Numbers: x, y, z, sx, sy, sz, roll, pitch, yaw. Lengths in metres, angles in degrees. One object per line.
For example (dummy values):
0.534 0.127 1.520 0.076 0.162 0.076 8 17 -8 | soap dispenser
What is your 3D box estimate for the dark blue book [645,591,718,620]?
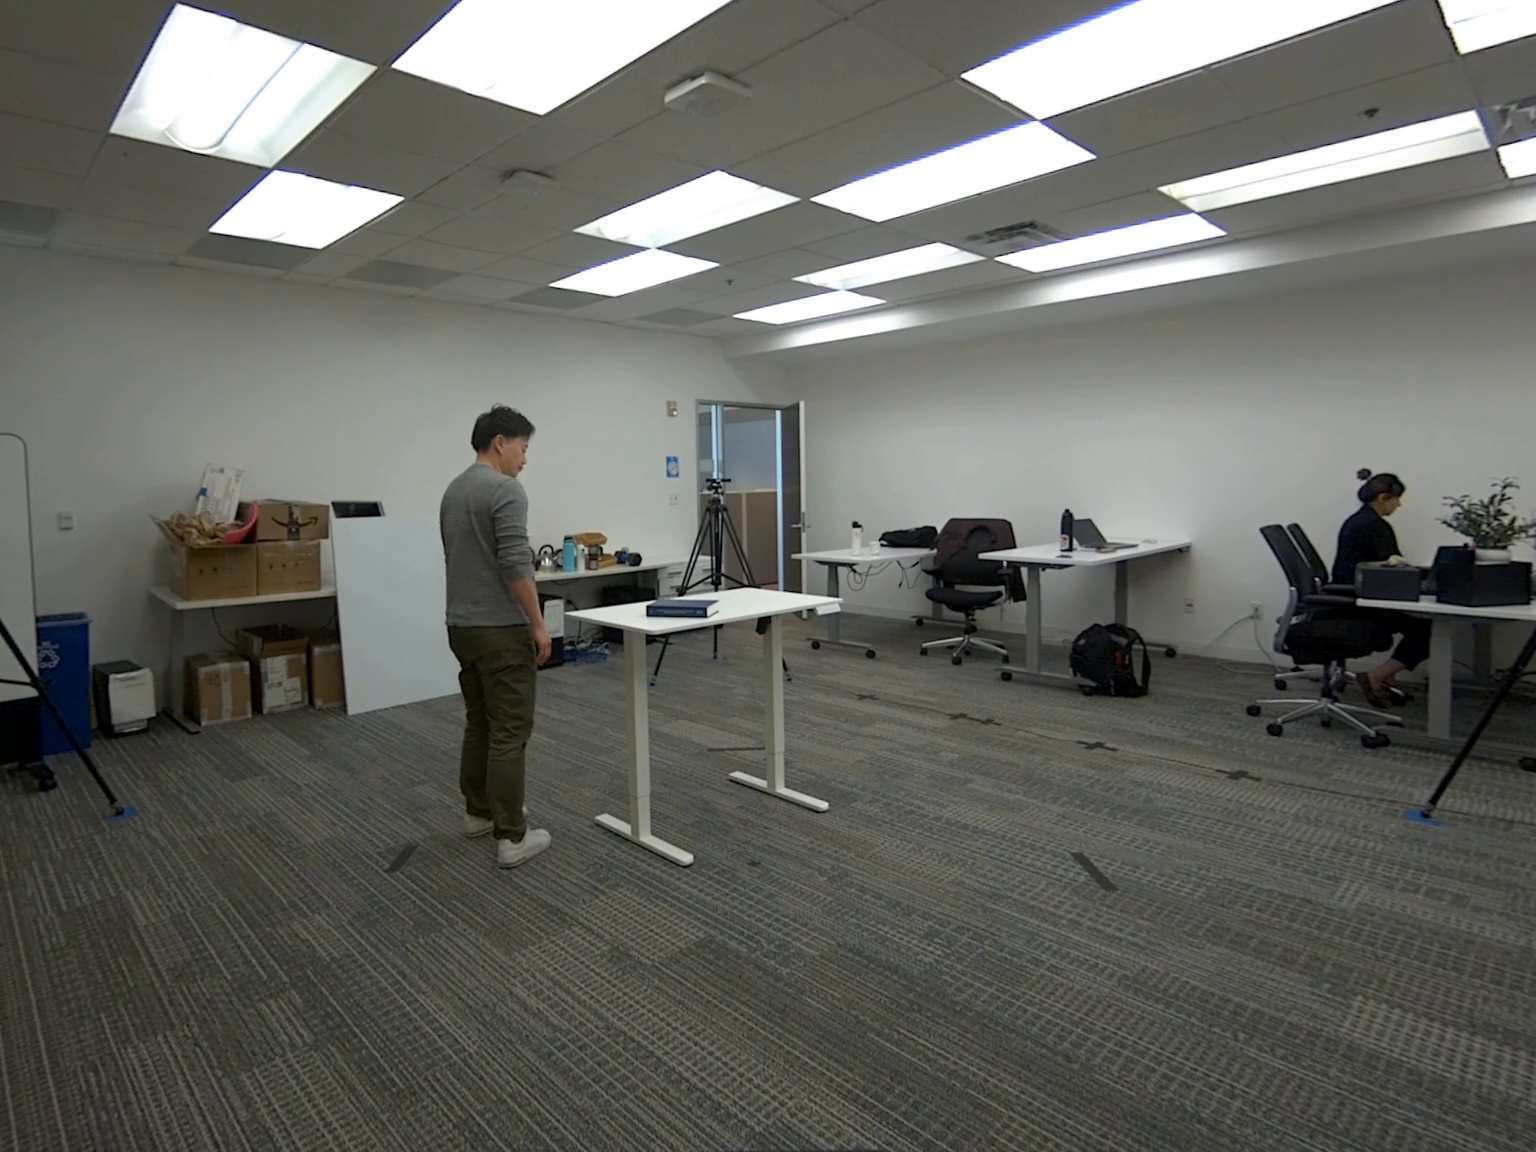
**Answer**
-0.329 0.127 3.279 0.249 0.045 0.162 1 7 16 | dark blue book
